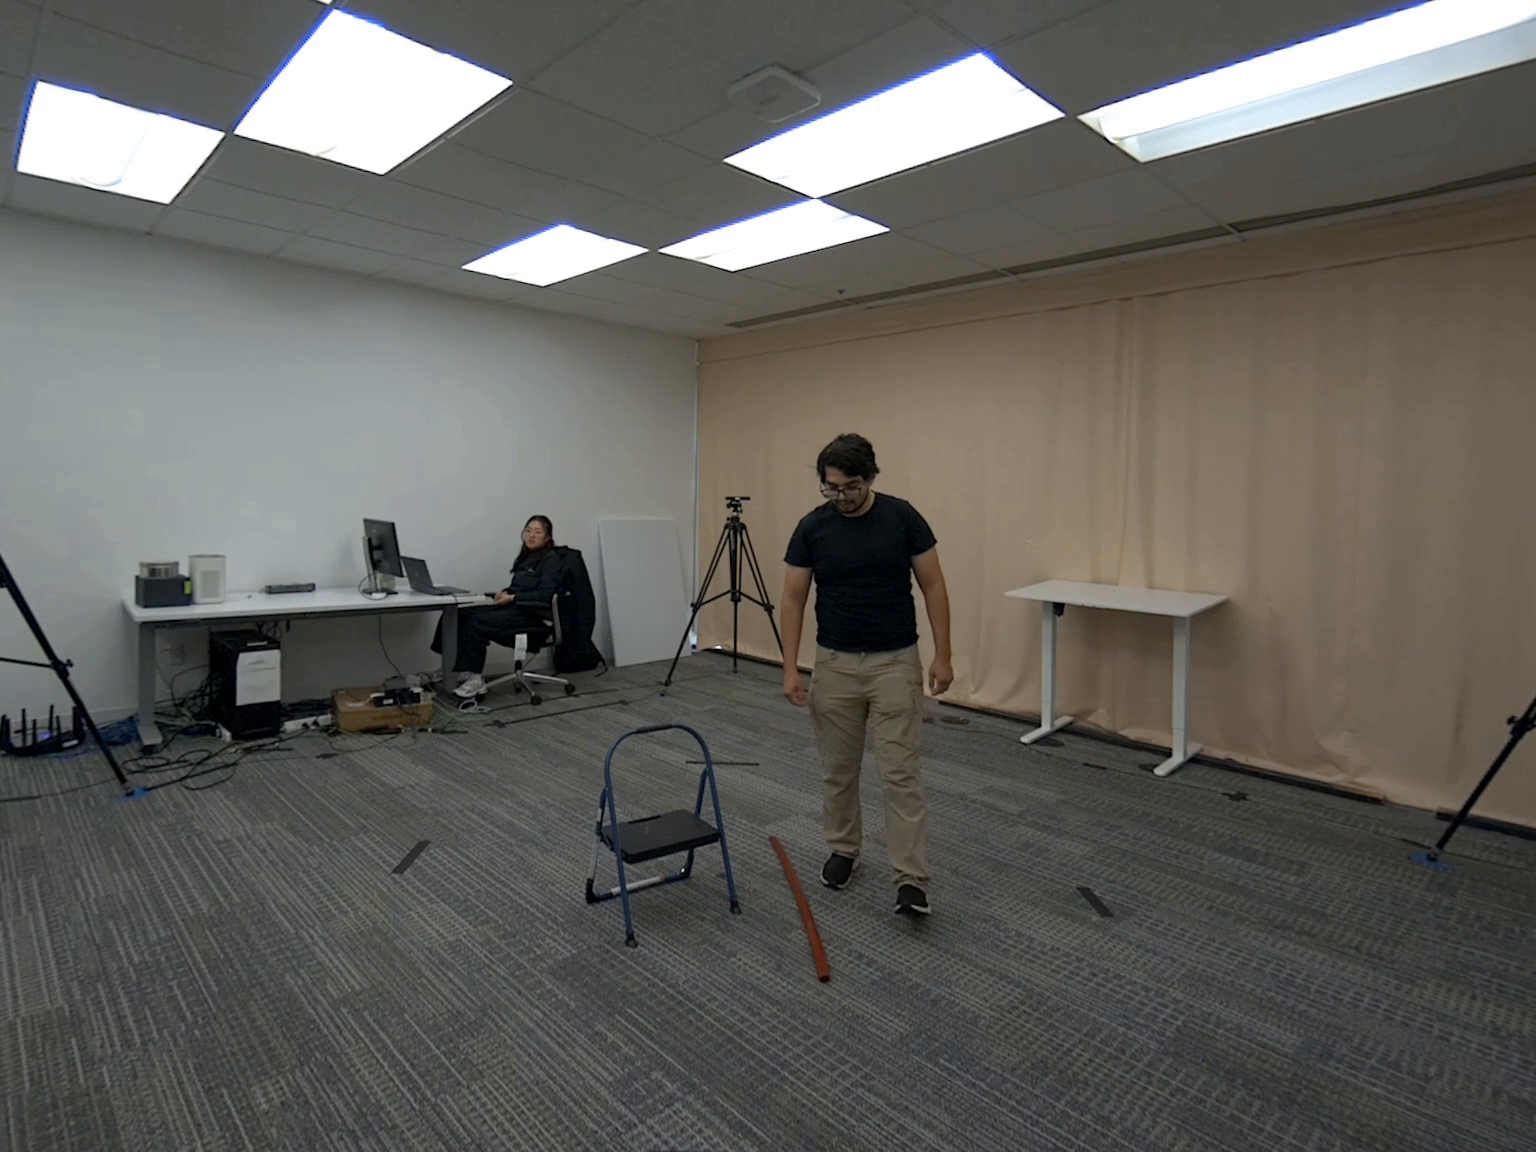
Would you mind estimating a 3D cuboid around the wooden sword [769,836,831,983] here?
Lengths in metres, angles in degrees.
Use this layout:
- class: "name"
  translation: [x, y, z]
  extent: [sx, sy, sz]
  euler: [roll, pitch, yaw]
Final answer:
- class: "wooden sword"
  translation: [0.093, 1.104, 2.941]
  extent: [0.051, 0.024, 1.033]
  euler: [-1, 5, -7]
